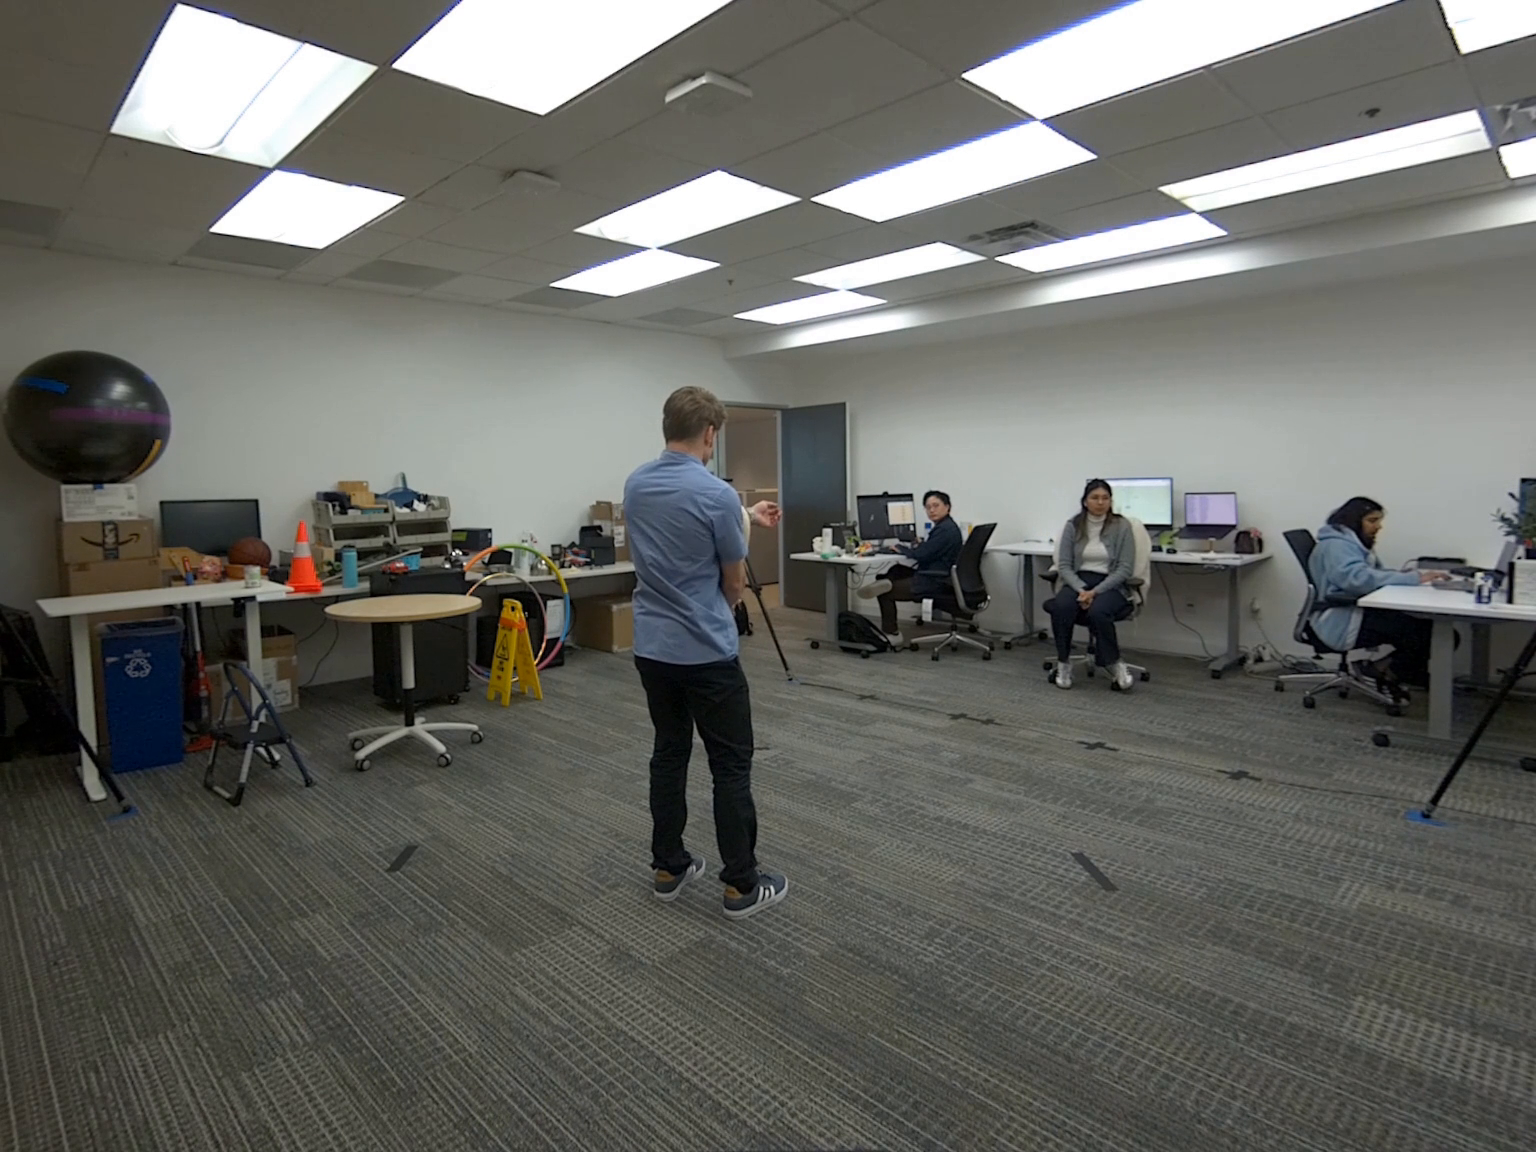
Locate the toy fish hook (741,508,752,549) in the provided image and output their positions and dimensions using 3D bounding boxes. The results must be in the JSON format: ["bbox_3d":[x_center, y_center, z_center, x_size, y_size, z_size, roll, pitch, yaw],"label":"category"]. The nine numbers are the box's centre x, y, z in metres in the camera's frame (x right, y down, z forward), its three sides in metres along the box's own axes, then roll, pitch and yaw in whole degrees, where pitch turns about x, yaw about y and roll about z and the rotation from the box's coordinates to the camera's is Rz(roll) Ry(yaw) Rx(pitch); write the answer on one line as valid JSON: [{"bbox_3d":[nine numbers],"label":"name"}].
[{"bbox_3d":[-0.149,-0.039,3.193,0.047,0.498,0.232,1,25,-21],"label":"toy fish hook"}]
